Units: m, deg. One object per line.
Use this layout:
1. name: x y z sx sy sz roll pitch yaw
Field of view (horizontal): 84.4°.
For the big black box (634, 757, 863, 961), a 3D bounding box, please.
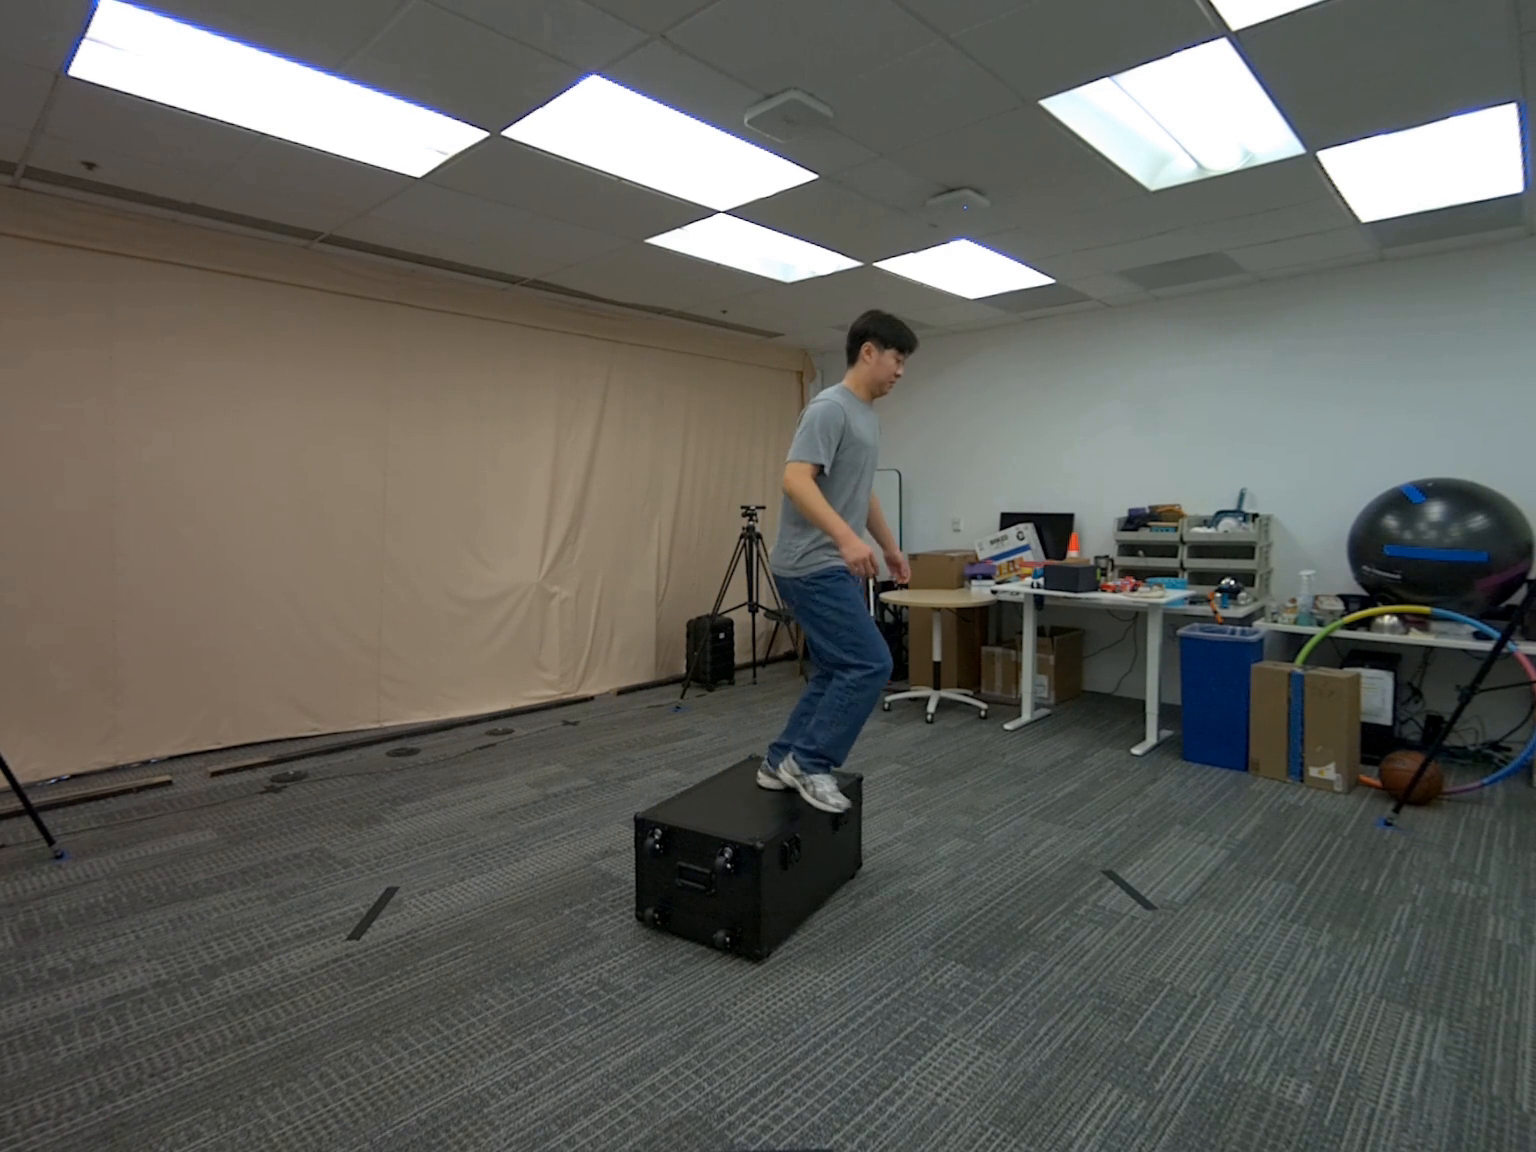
1. big black box: -0.057 0.956 2.954 0.536 0.395 0.838 3 5 30
